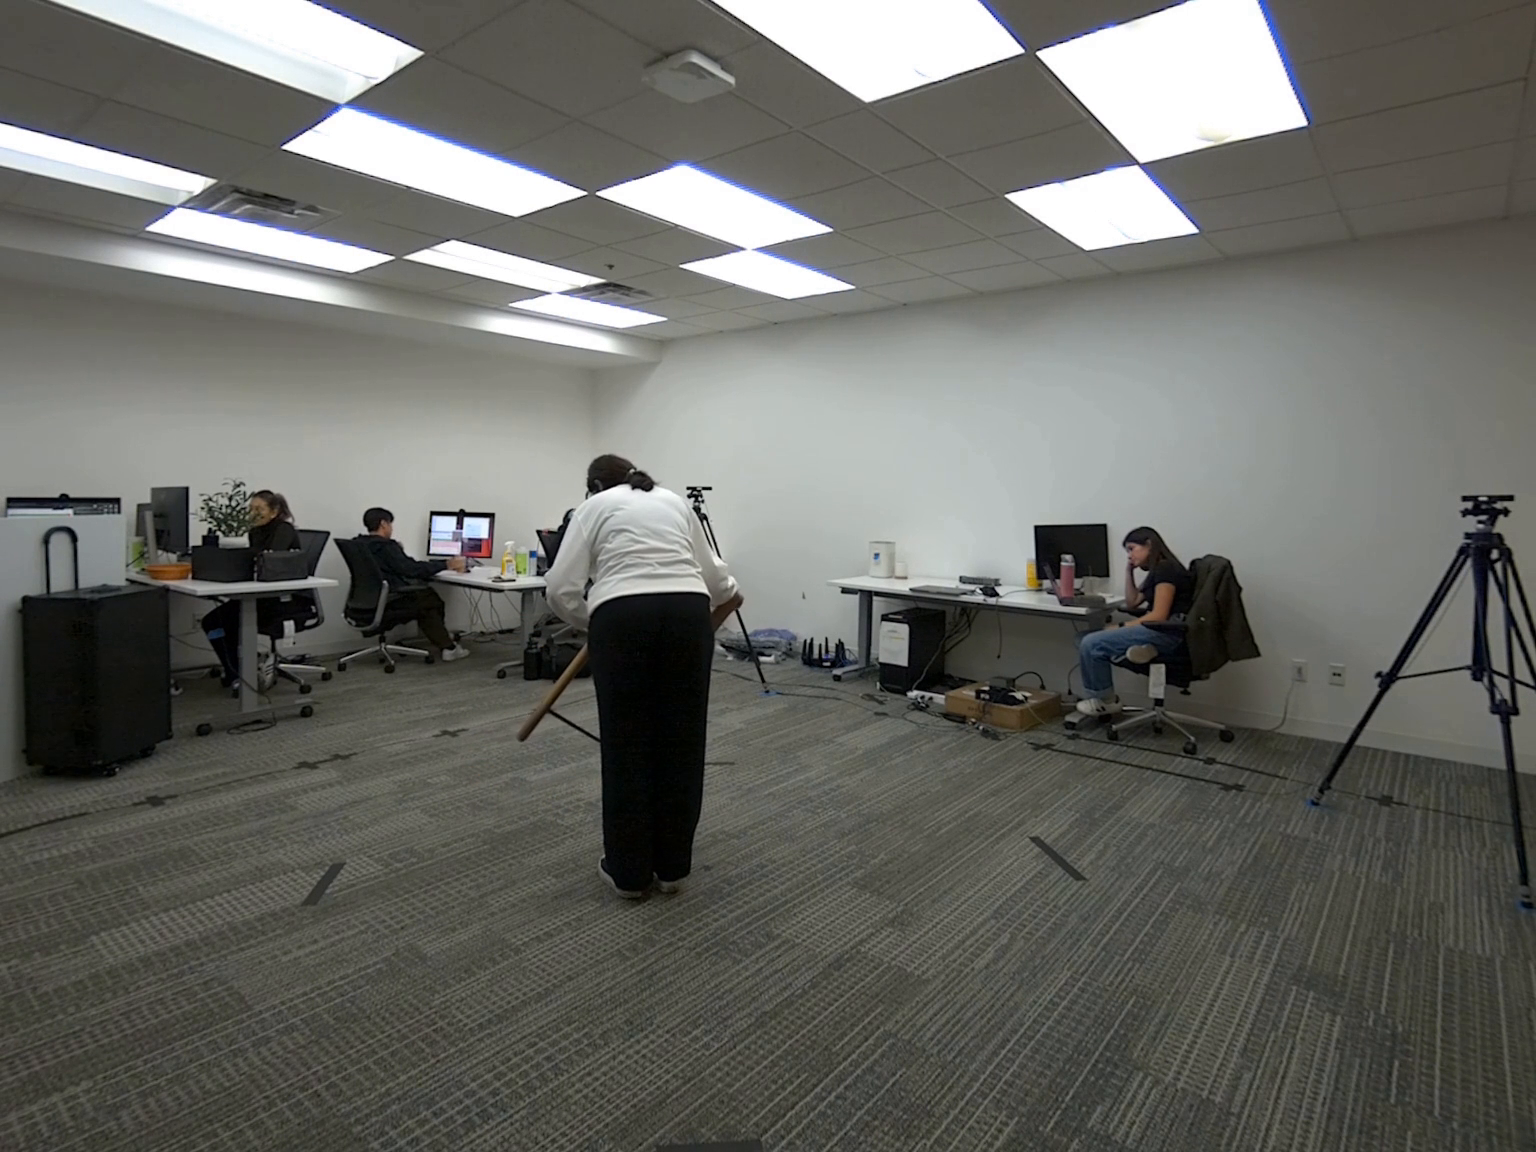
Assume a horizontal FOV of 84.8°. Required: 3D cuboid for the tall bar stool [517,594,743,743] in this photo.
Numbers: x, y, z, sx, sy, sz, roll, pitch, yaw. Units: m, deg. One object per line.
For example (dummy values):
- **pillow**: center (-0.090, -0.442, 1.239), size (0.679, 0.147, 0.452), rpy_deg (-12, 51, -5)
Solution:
- **tall bar stool**: center (-0.545, 0.350, 3.316), size (0.466, 0.893, 0.457), rpy_deg (31, -15, -4)
